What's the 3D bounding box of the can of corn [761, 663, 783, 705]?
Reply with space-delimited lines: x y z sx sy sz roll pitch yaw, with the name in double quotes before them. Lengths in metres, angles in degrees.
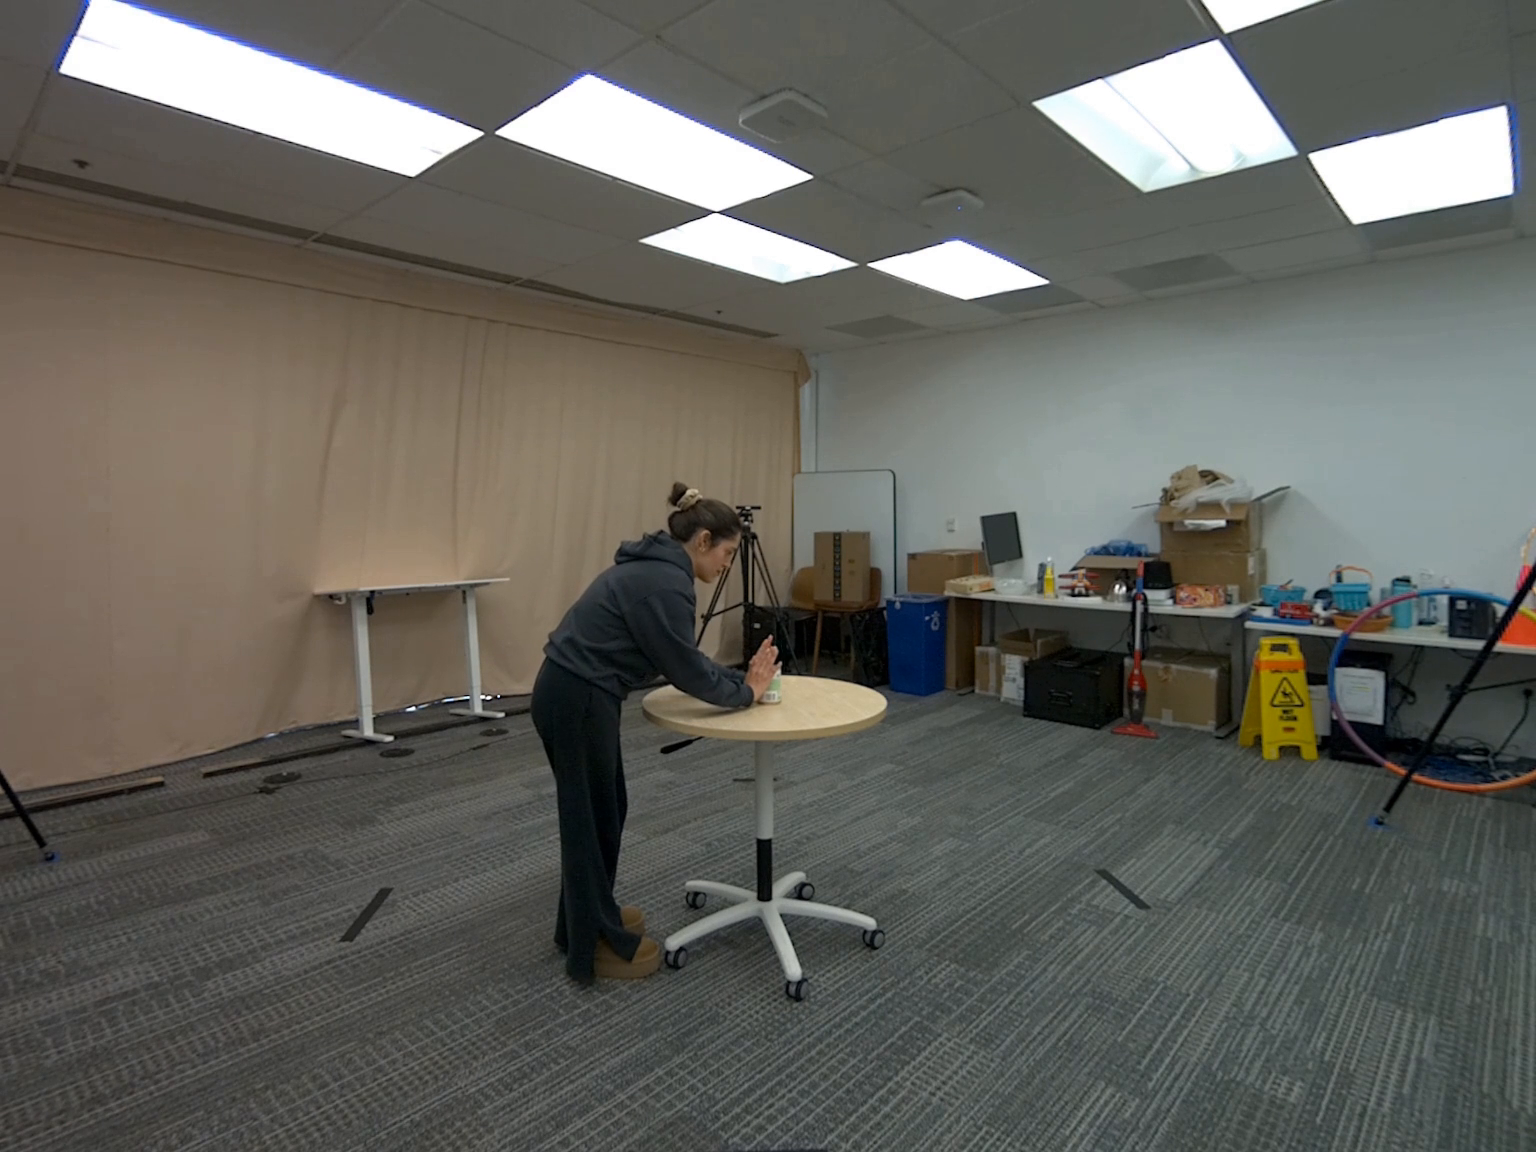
"can of corn" 0.019 0.335 2.594 0.074 0.111 0.074 -1 2 -2
